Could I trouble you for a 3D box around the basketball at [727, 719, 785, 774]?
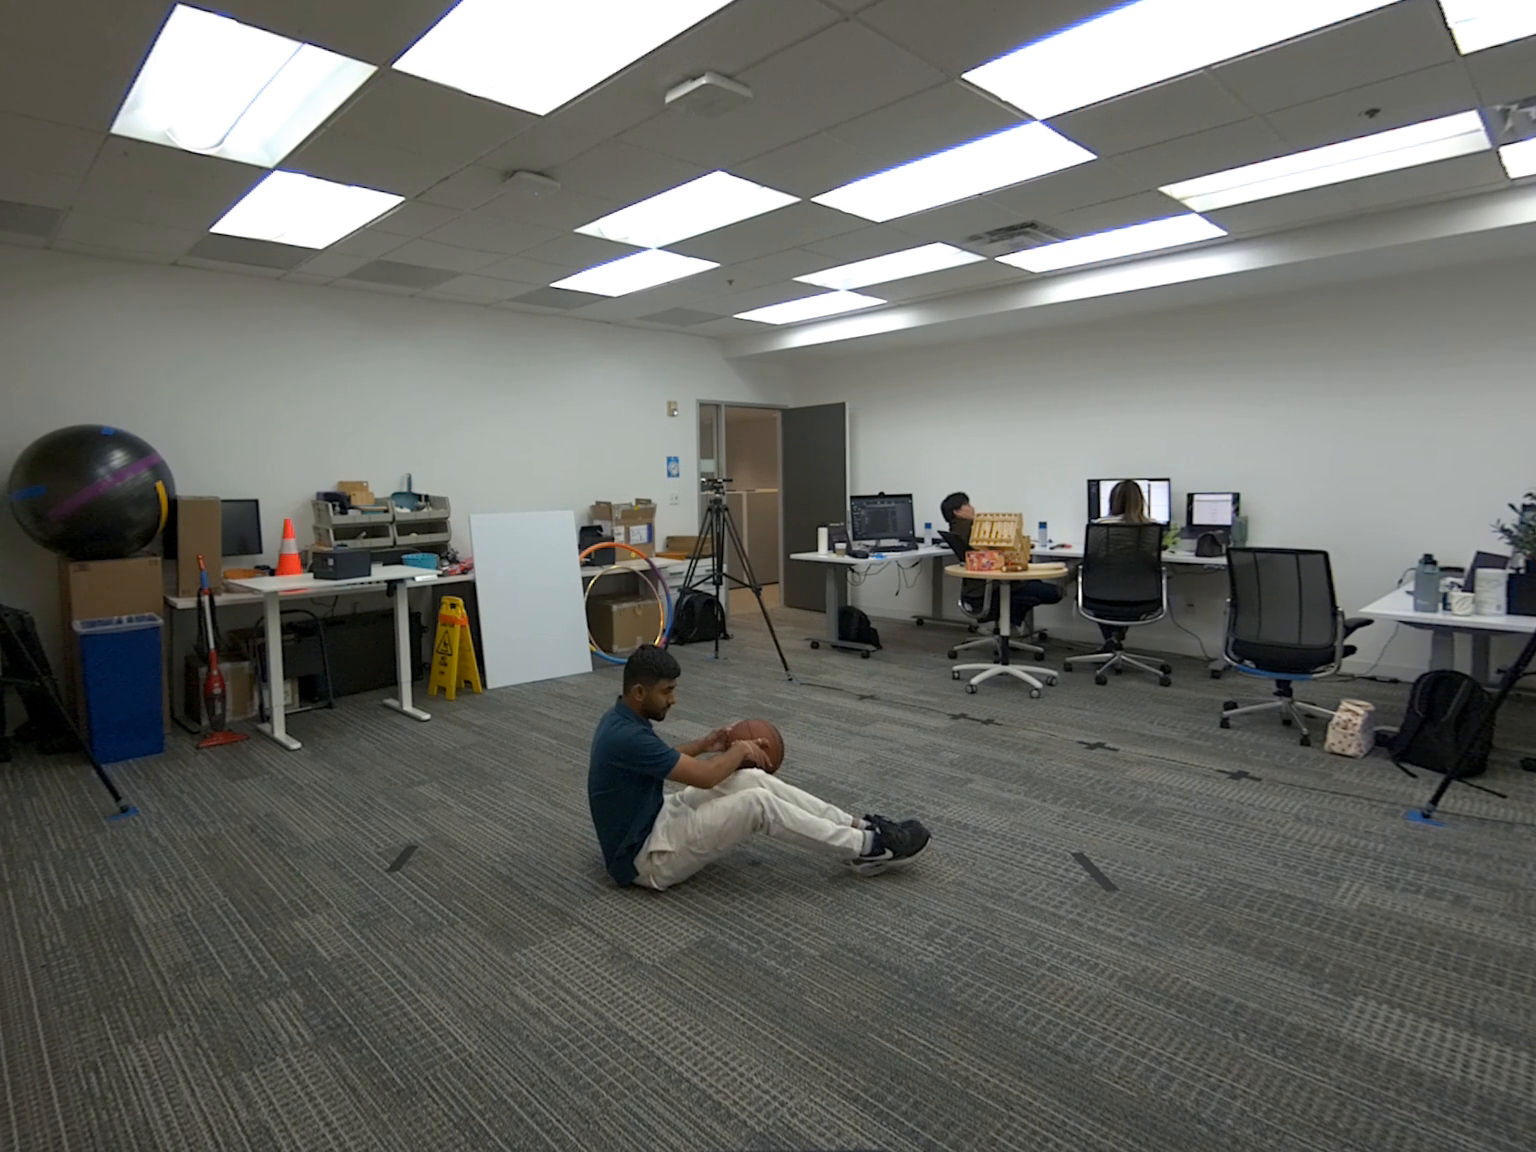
[{"bbox_3d":[-0.054,0.682,3.371,0.236,0.235,0.237,-1,5,-2],"label":"basketball"}]
